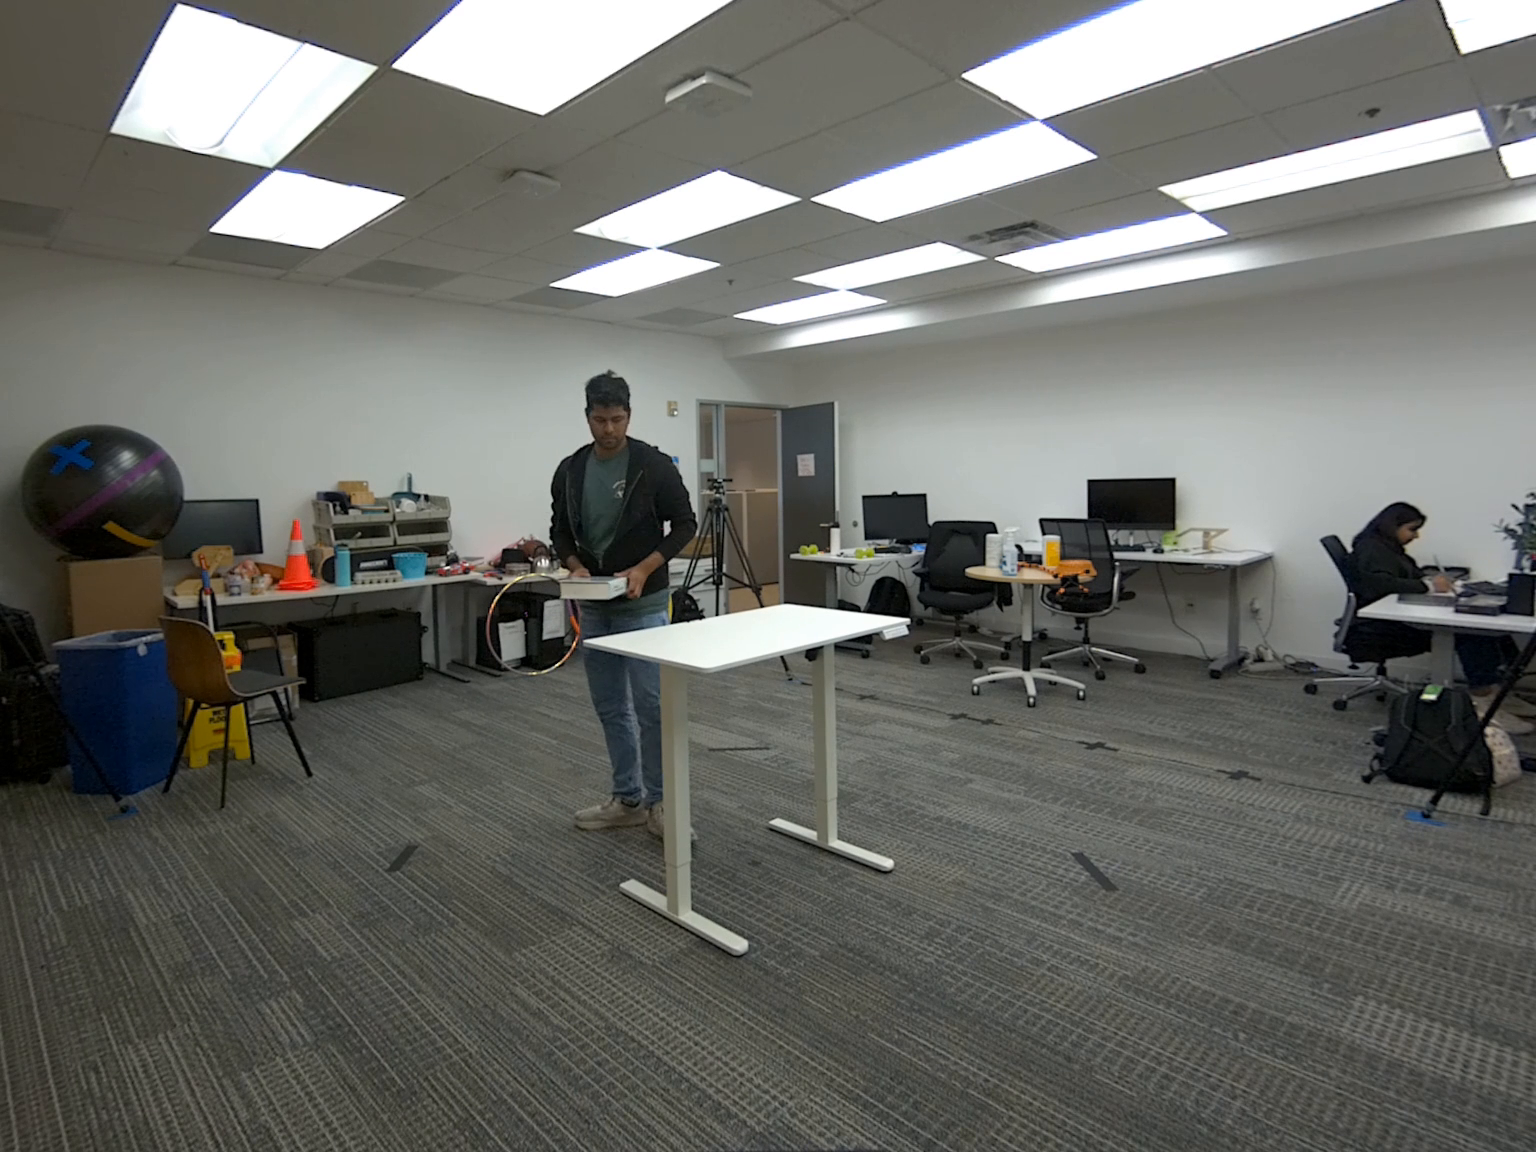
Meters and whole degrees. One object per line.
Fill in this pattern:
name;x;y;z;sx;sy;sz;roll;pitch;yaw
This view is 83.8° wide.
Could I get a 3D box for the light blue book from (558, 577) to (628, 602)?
light blue book;-0.627;0.045;3.105;0.191;0.059;0.262;1;5;-3
